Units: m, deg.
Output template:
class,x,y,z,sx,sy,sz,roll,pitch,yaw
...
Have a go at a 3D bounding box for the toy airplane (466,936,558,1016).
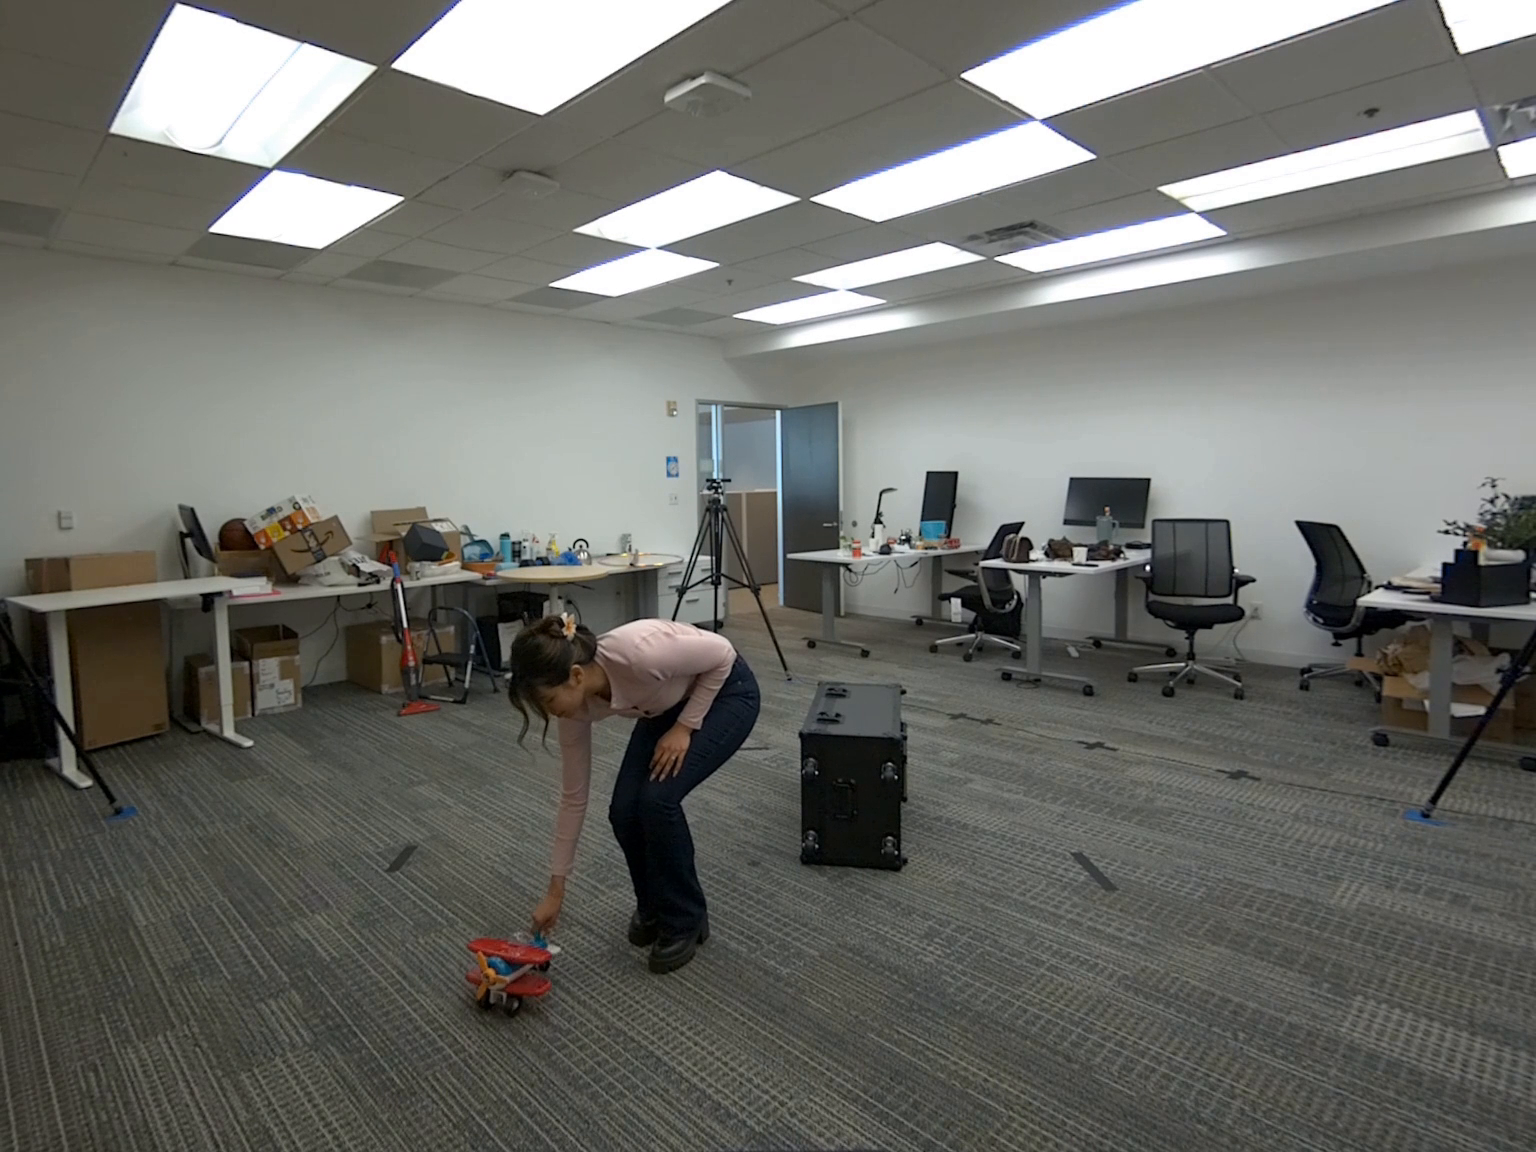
class,x,y,z,sx,sy,sz,roll,pitch,yaw
toy airplane,-0.713,1.071,2.339,0.249,0.155,0.263,-6,10,-8
